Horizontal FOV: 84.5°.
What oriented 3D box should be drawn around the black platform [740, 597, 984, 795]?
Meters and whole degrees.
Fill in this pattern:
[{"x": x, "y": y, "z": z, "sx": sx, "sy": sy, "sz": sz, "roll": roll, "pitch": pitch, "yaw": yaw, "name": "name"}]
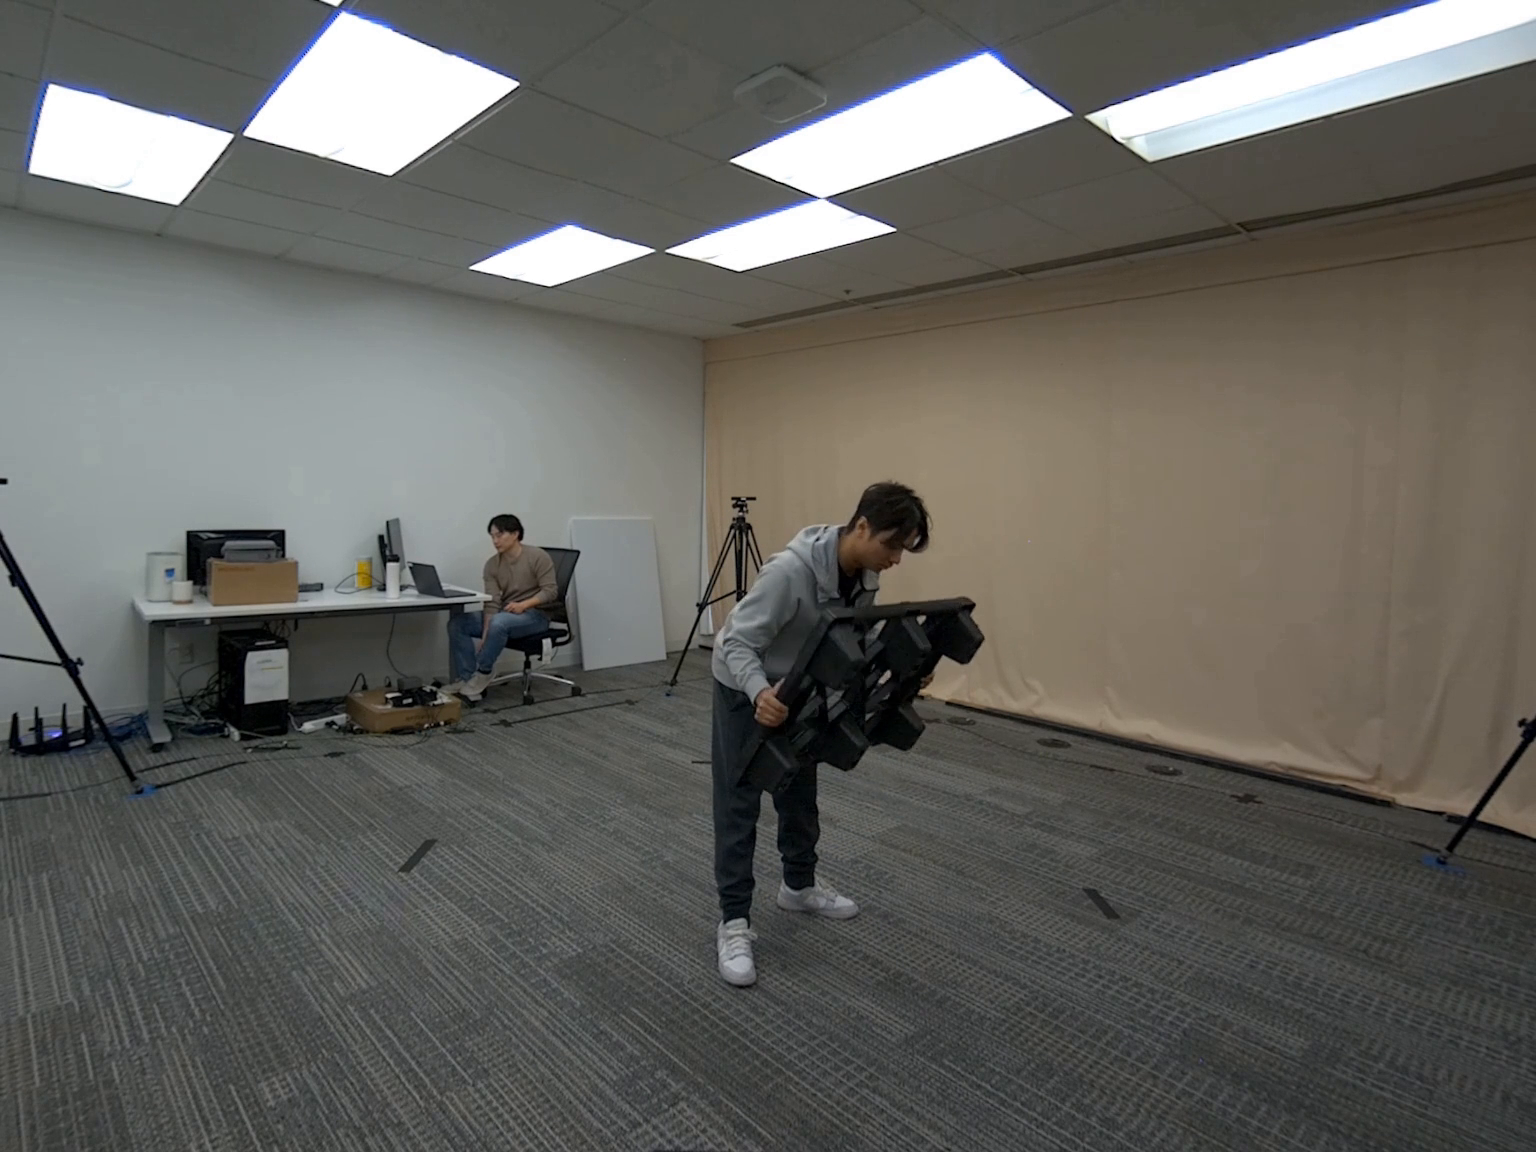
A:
[{"x": 0.290, "y": 0.360, "z": 2.481, "sx": 0.786, "sy": 0.601, "sz": 0.148, "roll": -1, "pitch": 34, "yaw": -48, "name": "black platform"}]
